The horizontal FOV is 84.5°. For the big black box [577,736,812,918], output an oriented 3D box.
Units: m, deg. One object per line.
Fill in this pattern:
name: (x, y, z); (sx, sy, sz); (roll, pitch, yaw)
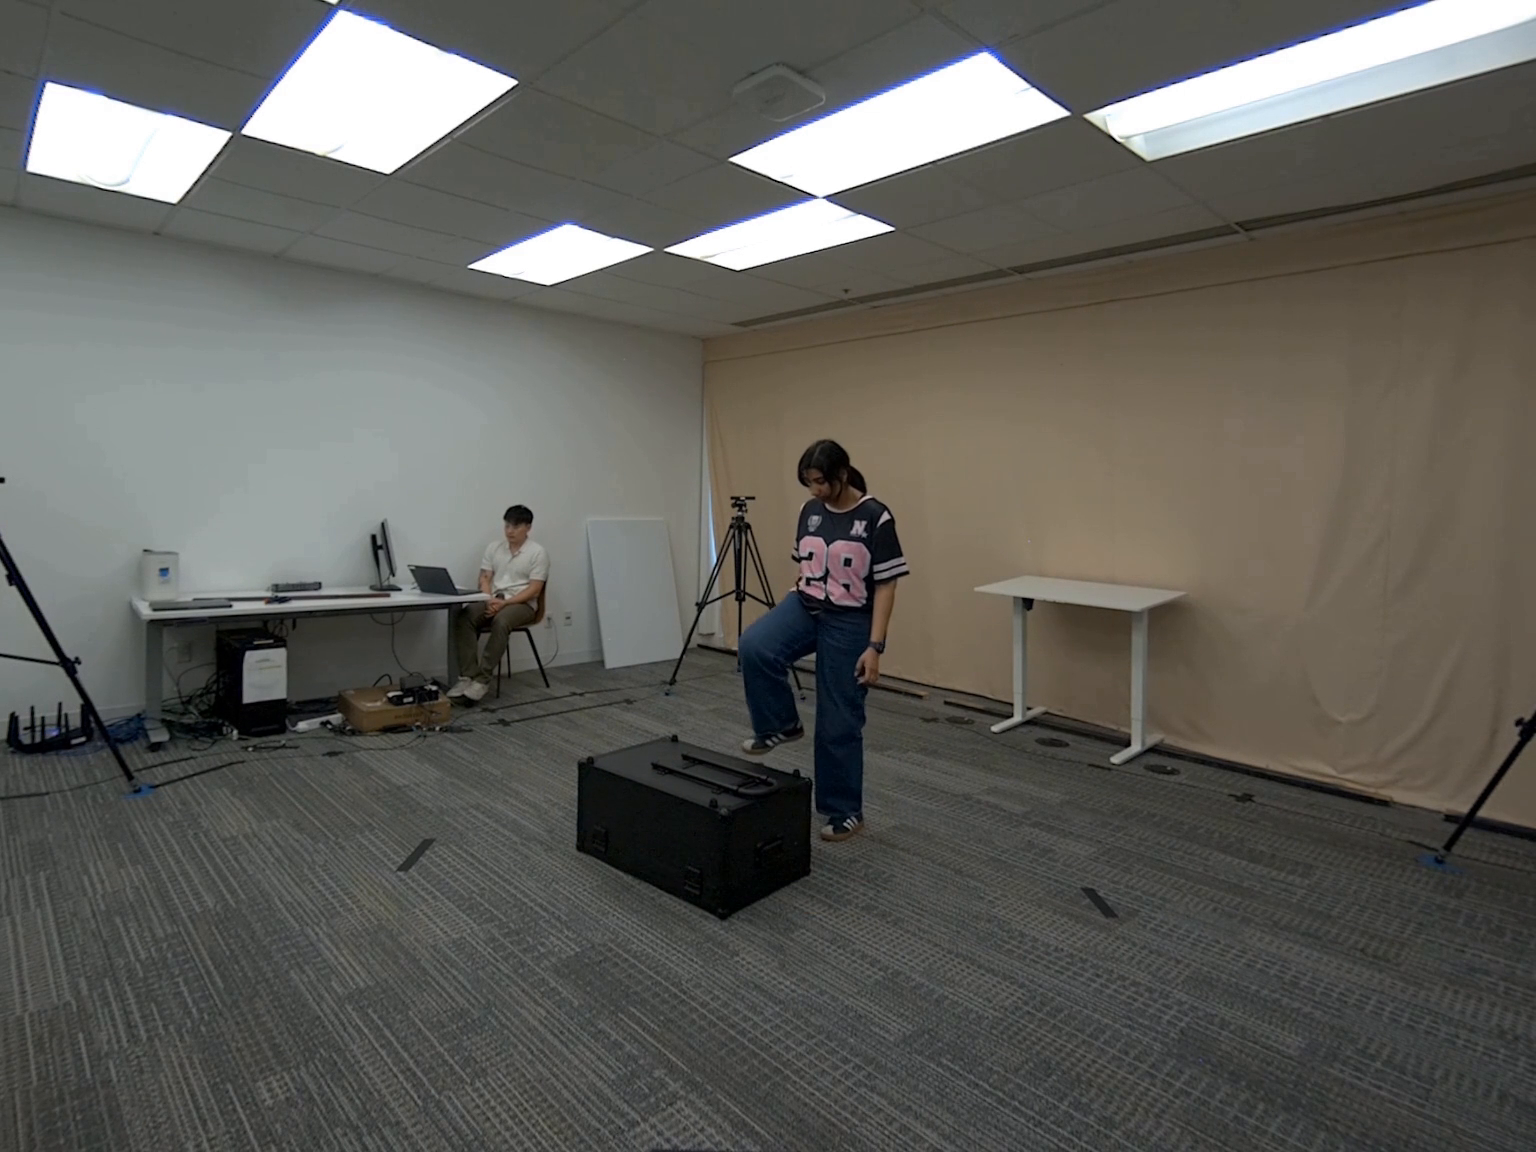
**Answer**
big black box: (-0.329, 0.905, 3.211); (0.890, 0.384, 0.512); (5, 7, 40)
